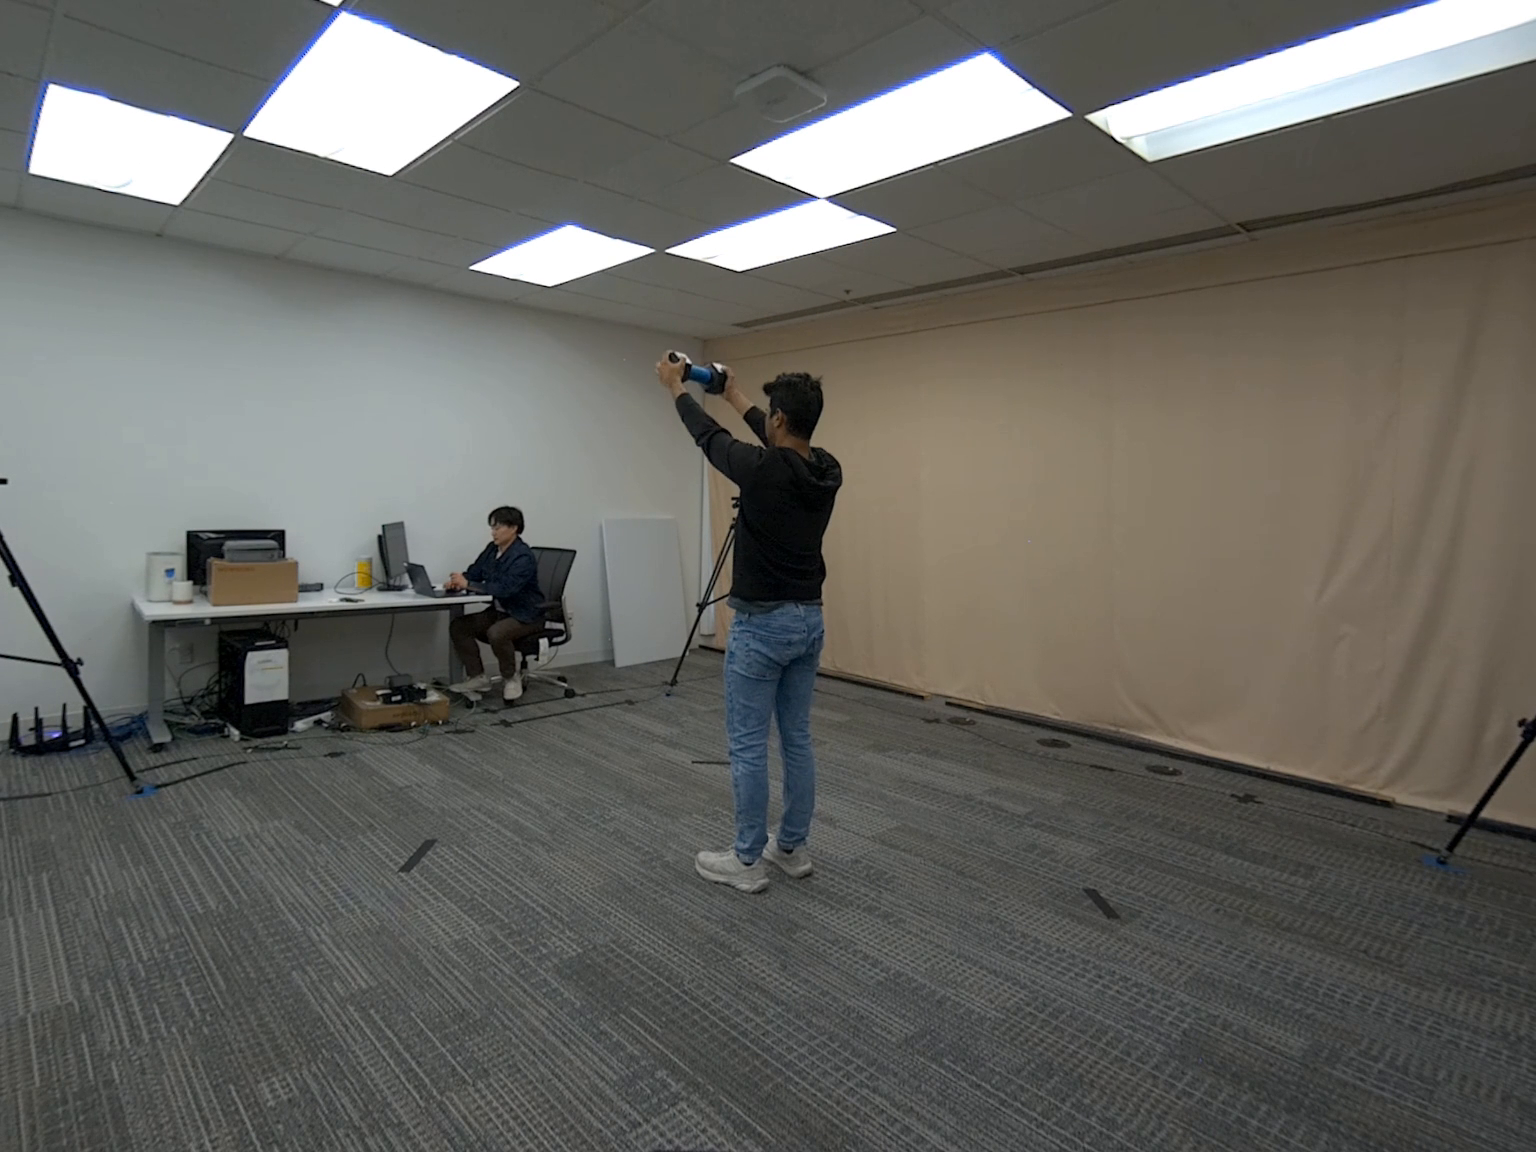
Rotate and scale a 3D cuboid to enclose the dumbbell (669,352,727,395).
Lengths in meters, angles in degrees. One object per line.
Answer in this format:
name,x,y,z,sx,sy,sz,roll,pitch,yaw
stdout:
dumbbell,-0.293,-0.795,3.323,0.286,0.122,0.112,2,16,-46
